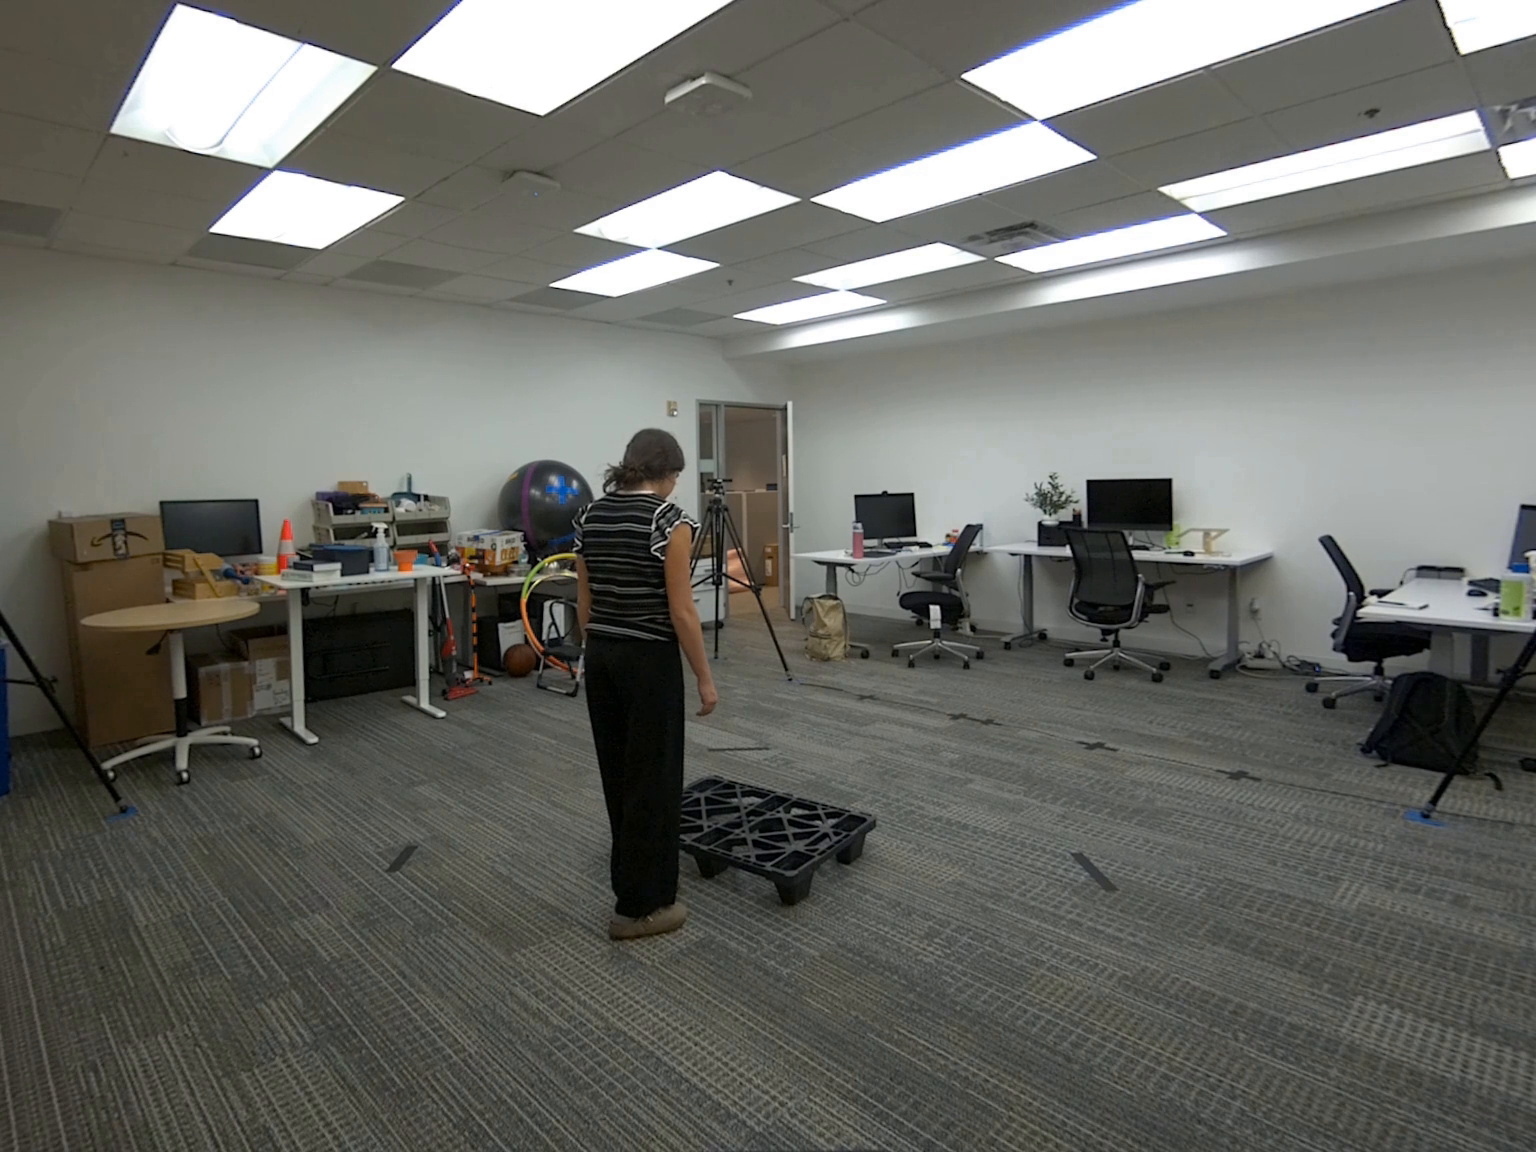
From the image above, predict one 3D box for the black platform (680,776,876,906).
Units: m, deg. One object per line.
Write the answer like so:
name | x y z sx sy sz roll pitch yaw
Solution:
black platform | -0.085 0.967 3.197 0.829 0.143 0.590 4 7 36
